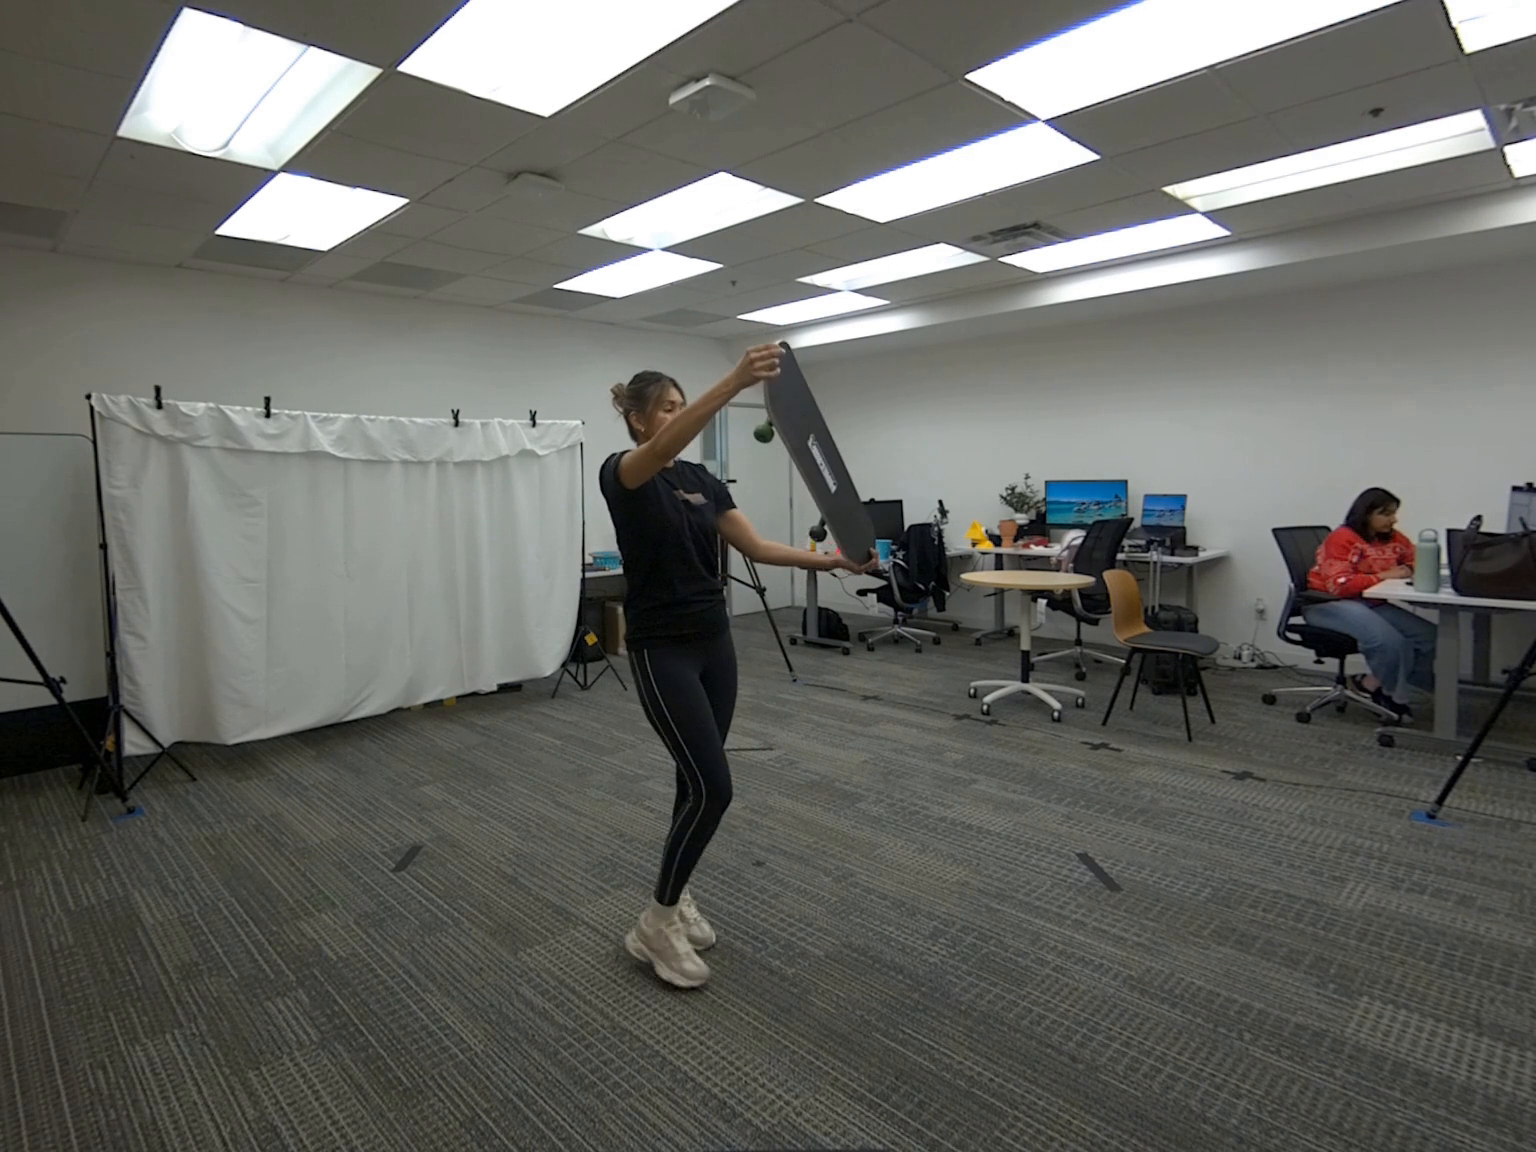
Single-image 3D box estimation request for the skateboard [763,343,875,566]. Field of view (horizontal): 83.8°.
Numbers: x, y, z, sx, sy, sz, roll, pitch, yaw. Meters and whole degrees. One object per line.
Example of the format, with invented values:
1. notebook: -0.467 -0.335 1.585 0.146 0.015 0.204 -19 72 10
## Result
1. skateboard: 0.120 -0.293 2.279 0.113 0.196 0.756 2 -37 30
